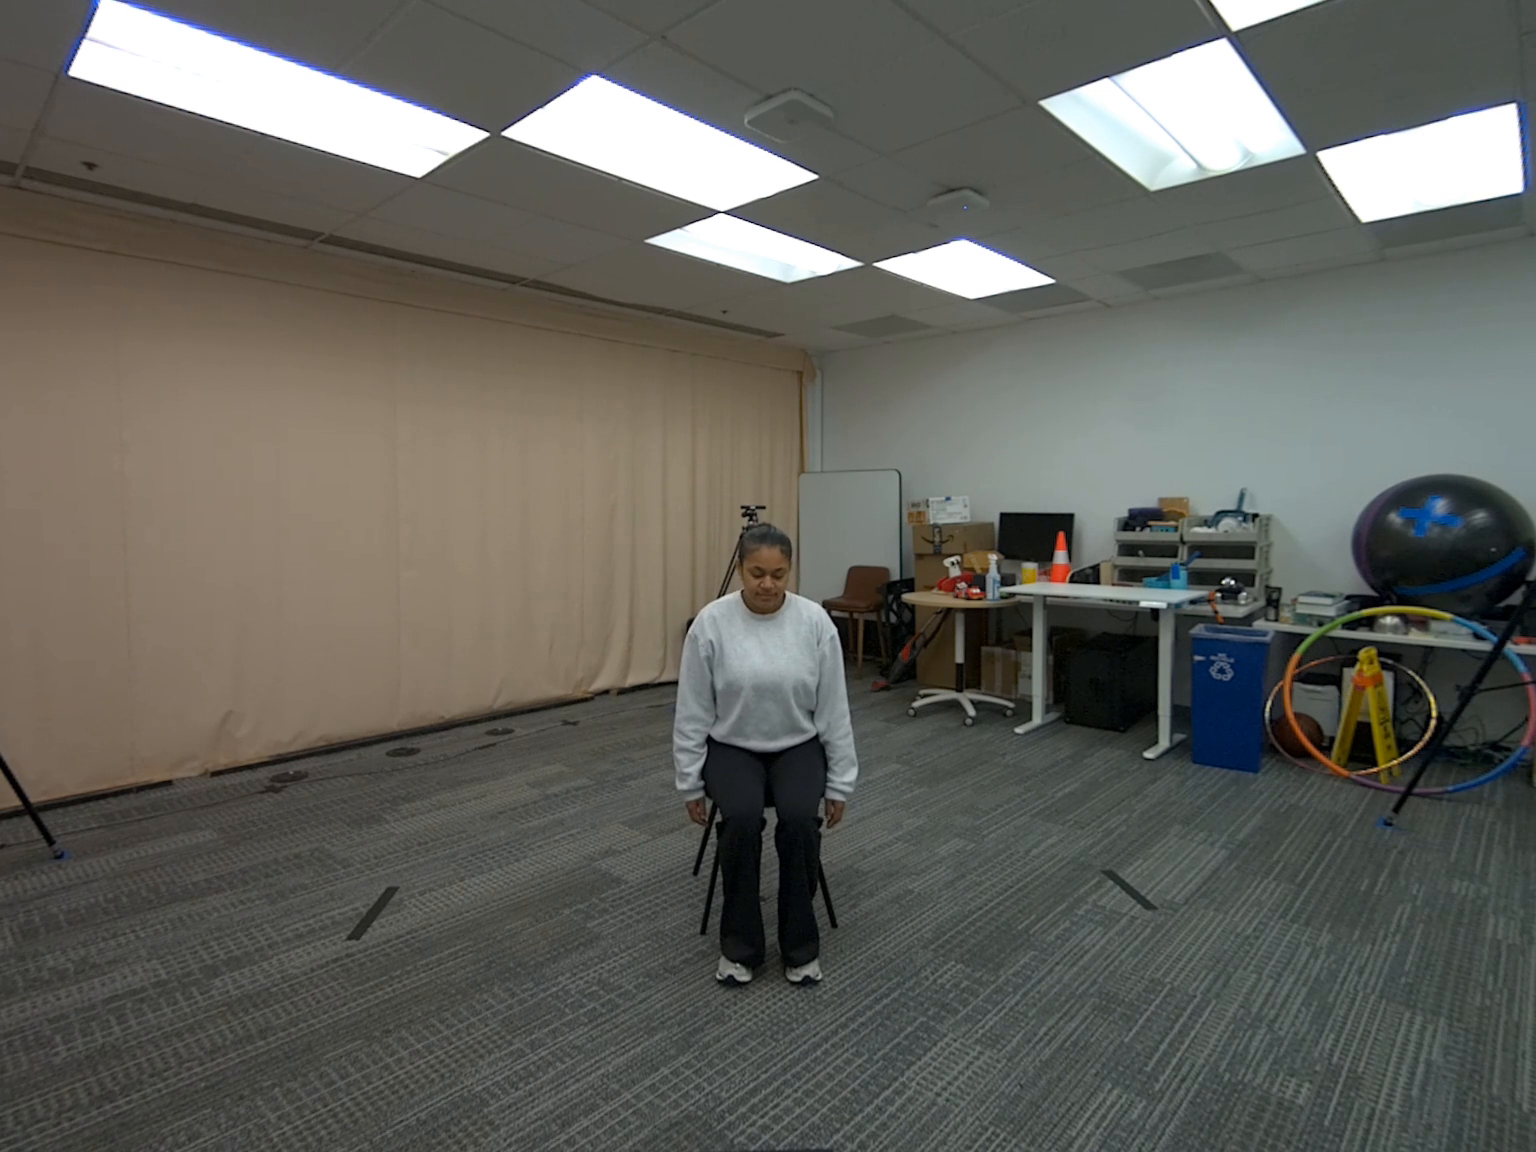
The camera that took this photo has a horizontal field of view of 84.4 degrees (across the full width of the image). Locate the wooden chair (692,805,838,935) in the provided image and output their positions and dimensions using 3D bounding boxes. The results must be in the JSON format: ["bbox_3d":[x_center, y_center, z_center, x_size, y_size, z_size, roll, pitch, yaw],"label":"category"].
[{"bbox_3d":[-0.022,0.718,2.940,0.475,0.877,0.527,0,0,-8],"label":"wooden chair"}]
